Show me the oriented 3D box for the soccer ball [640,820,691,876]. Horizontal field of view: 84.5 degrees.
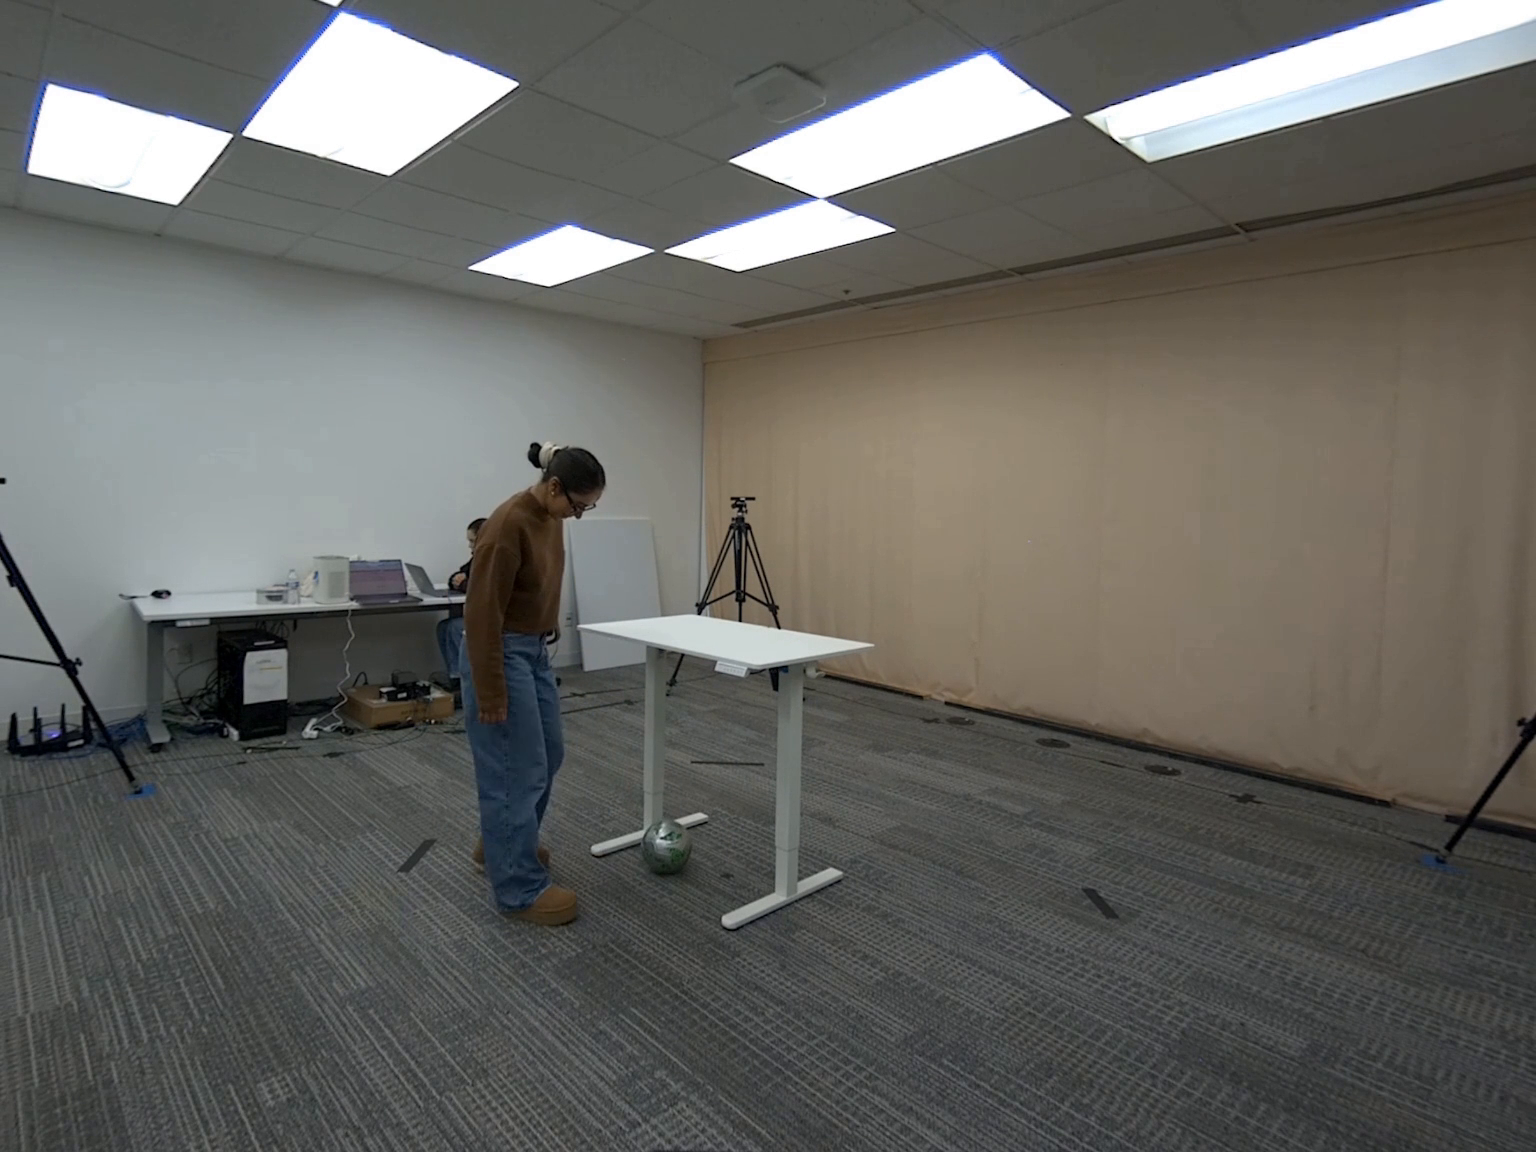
[{"bbox_3d":[-0.386,1.005,3.124,0.187,0.187,0.188,1,4,-1],"label":"soccer ball"}]
